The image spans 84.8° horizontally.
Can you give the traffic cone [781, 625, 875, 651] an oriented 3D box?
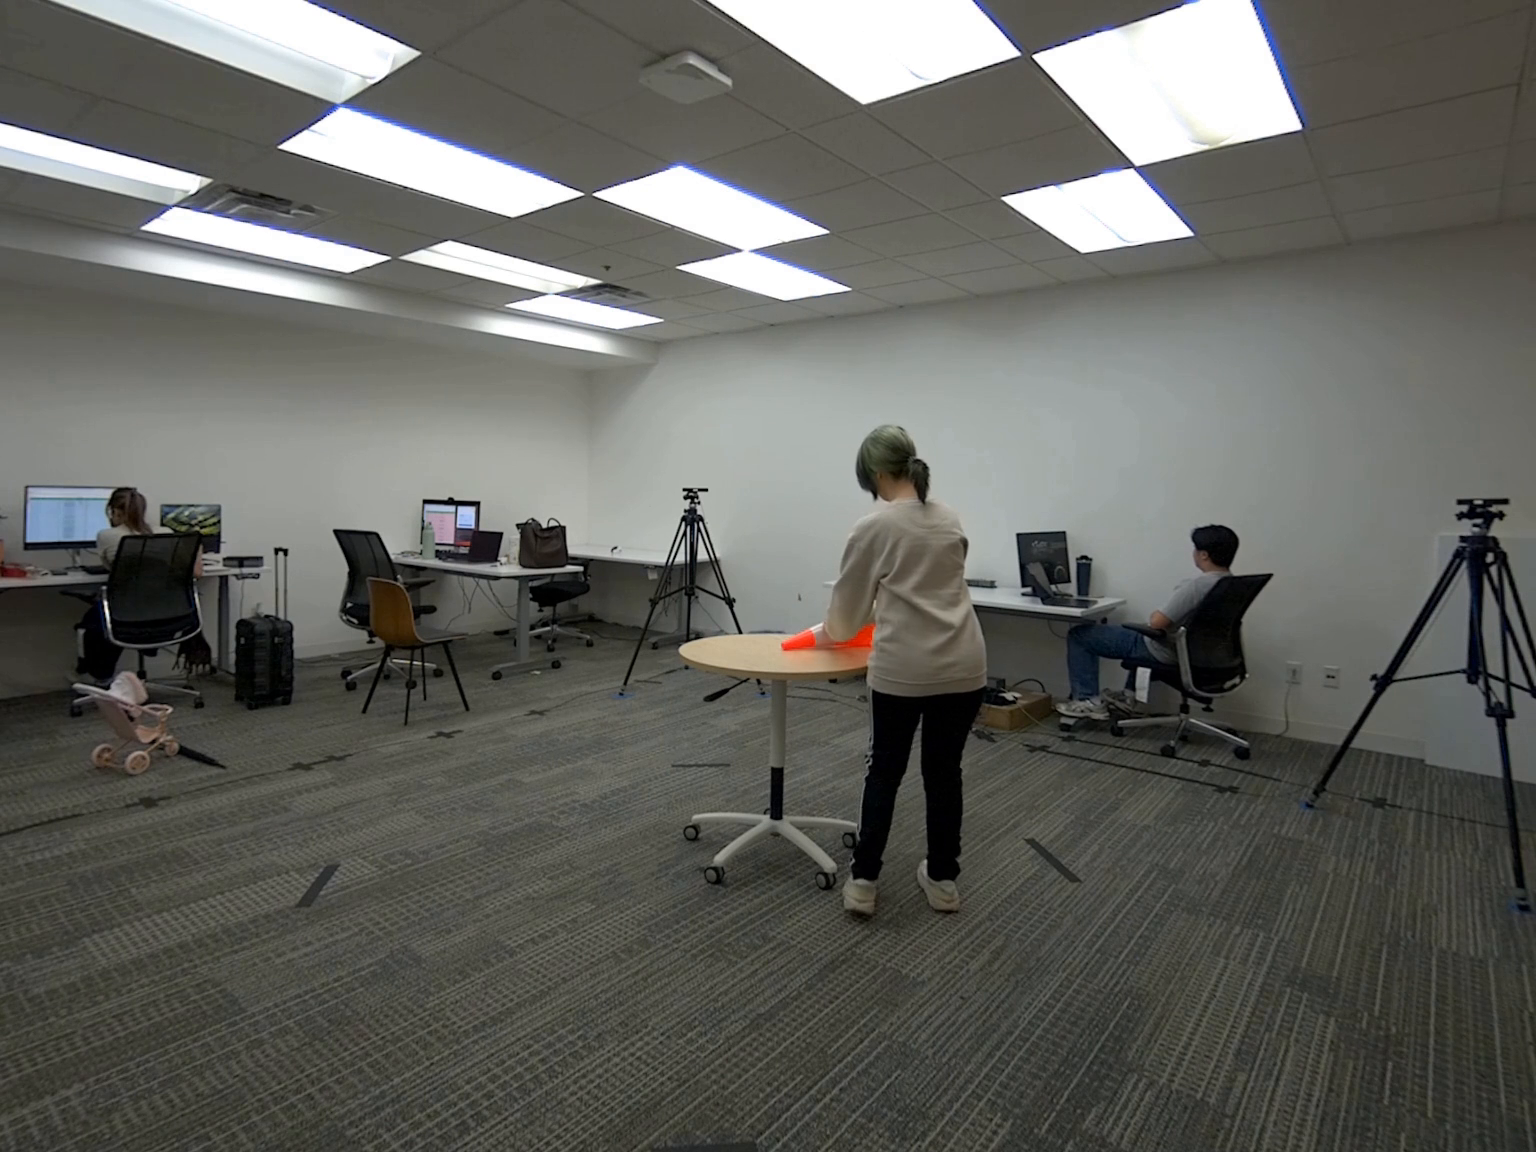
[{"bbox_3d":[0.218,0.230,3.309,0.377,0.201,0.211,-14,13,-24],"label":"traffic cone"}]
